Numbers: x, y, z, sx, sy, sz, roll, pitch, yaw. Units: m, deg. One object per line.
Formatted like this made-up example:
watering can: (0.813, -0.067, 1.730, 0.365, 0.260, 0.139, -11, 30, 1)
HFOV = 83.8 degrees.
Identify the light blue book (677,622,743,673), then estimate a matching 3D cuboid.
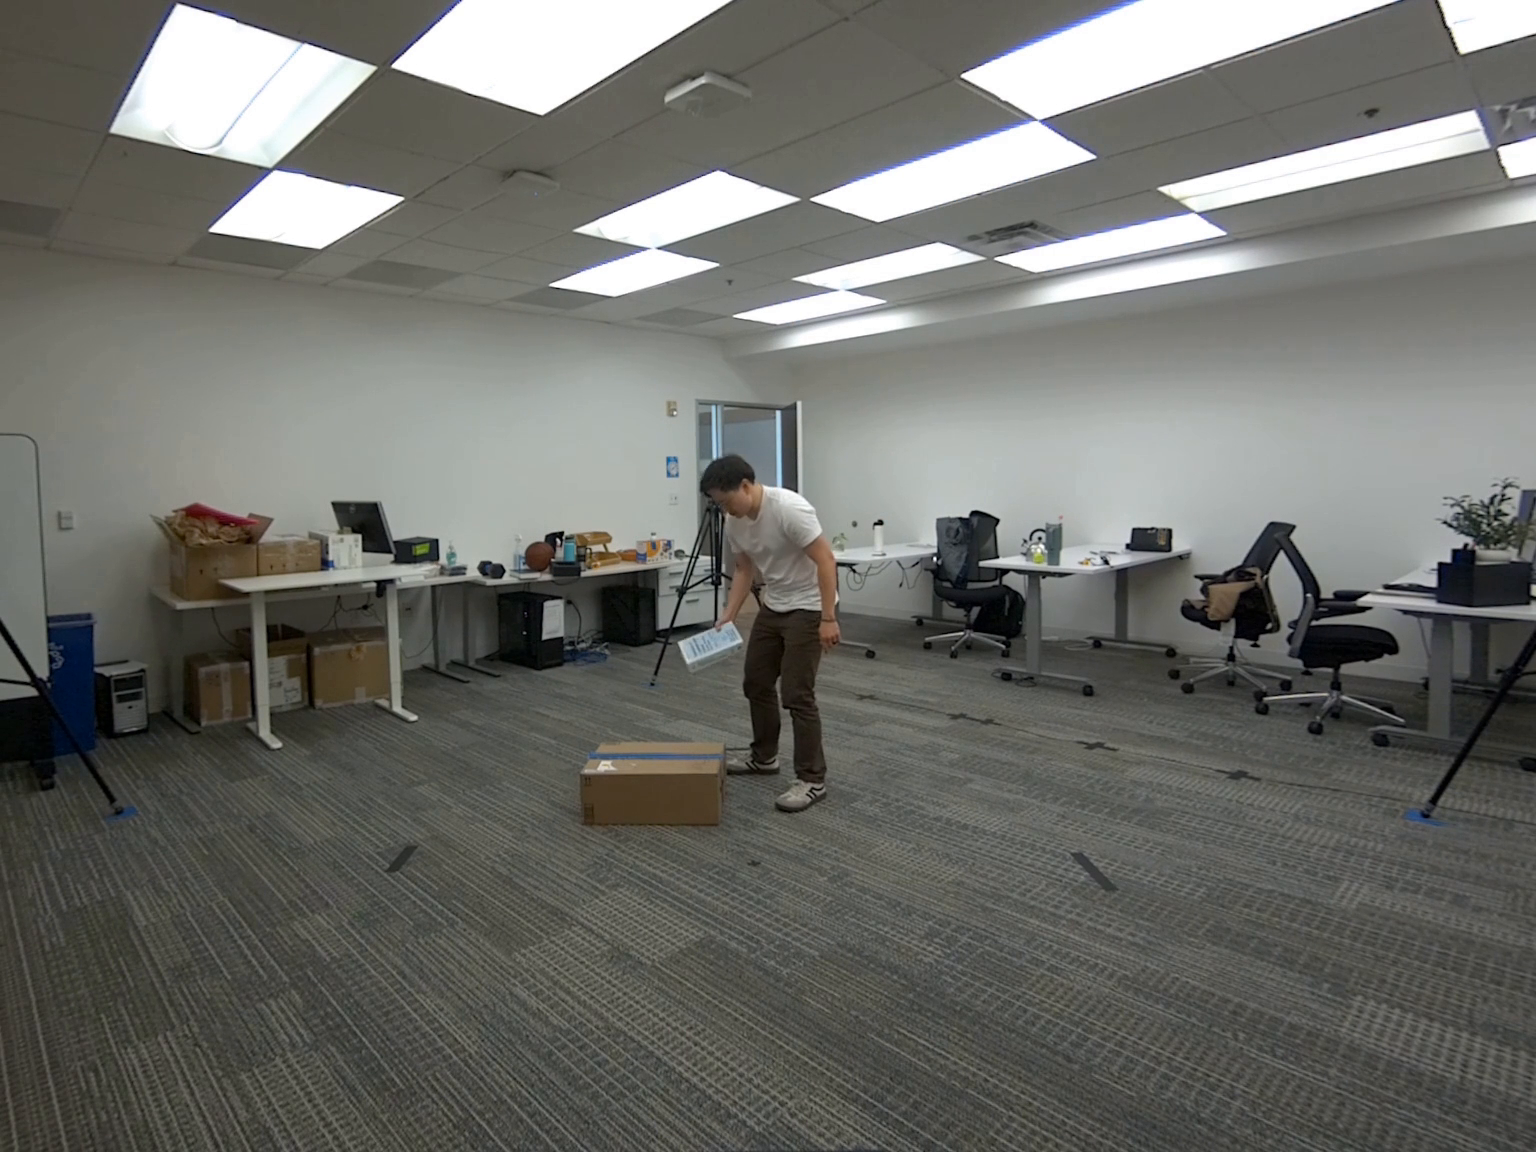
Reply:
light blue book: (-0.255, 0.319, 3.790, 0.260, 0.057, 0.198, -21, 29, -8)
